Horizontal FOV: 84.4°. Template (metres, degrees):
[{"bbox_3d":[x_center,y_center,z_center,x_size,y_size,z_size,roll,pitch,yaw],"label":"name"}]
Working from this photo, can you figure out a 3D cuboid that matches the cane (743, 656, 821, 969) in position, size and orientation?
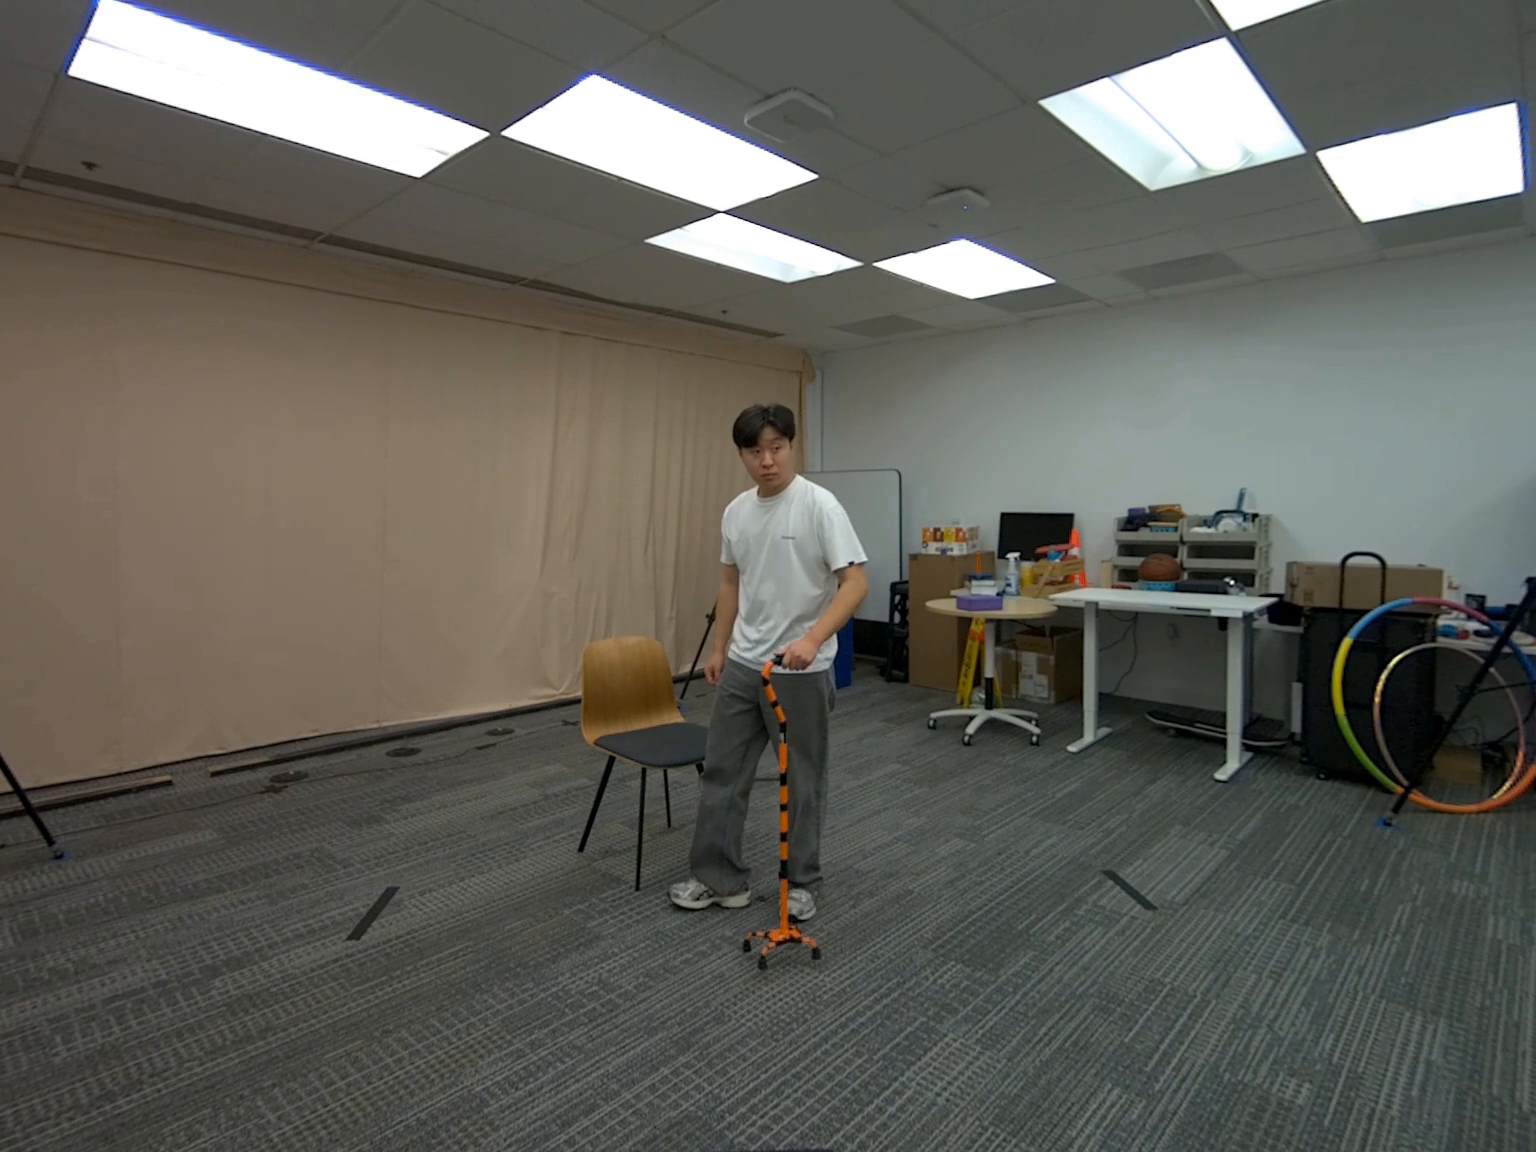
[{"bbox_3d":[0.052,0.692,2.572,0.202,0.908,0.155,-1,0,-22],"label":"cane"}]
